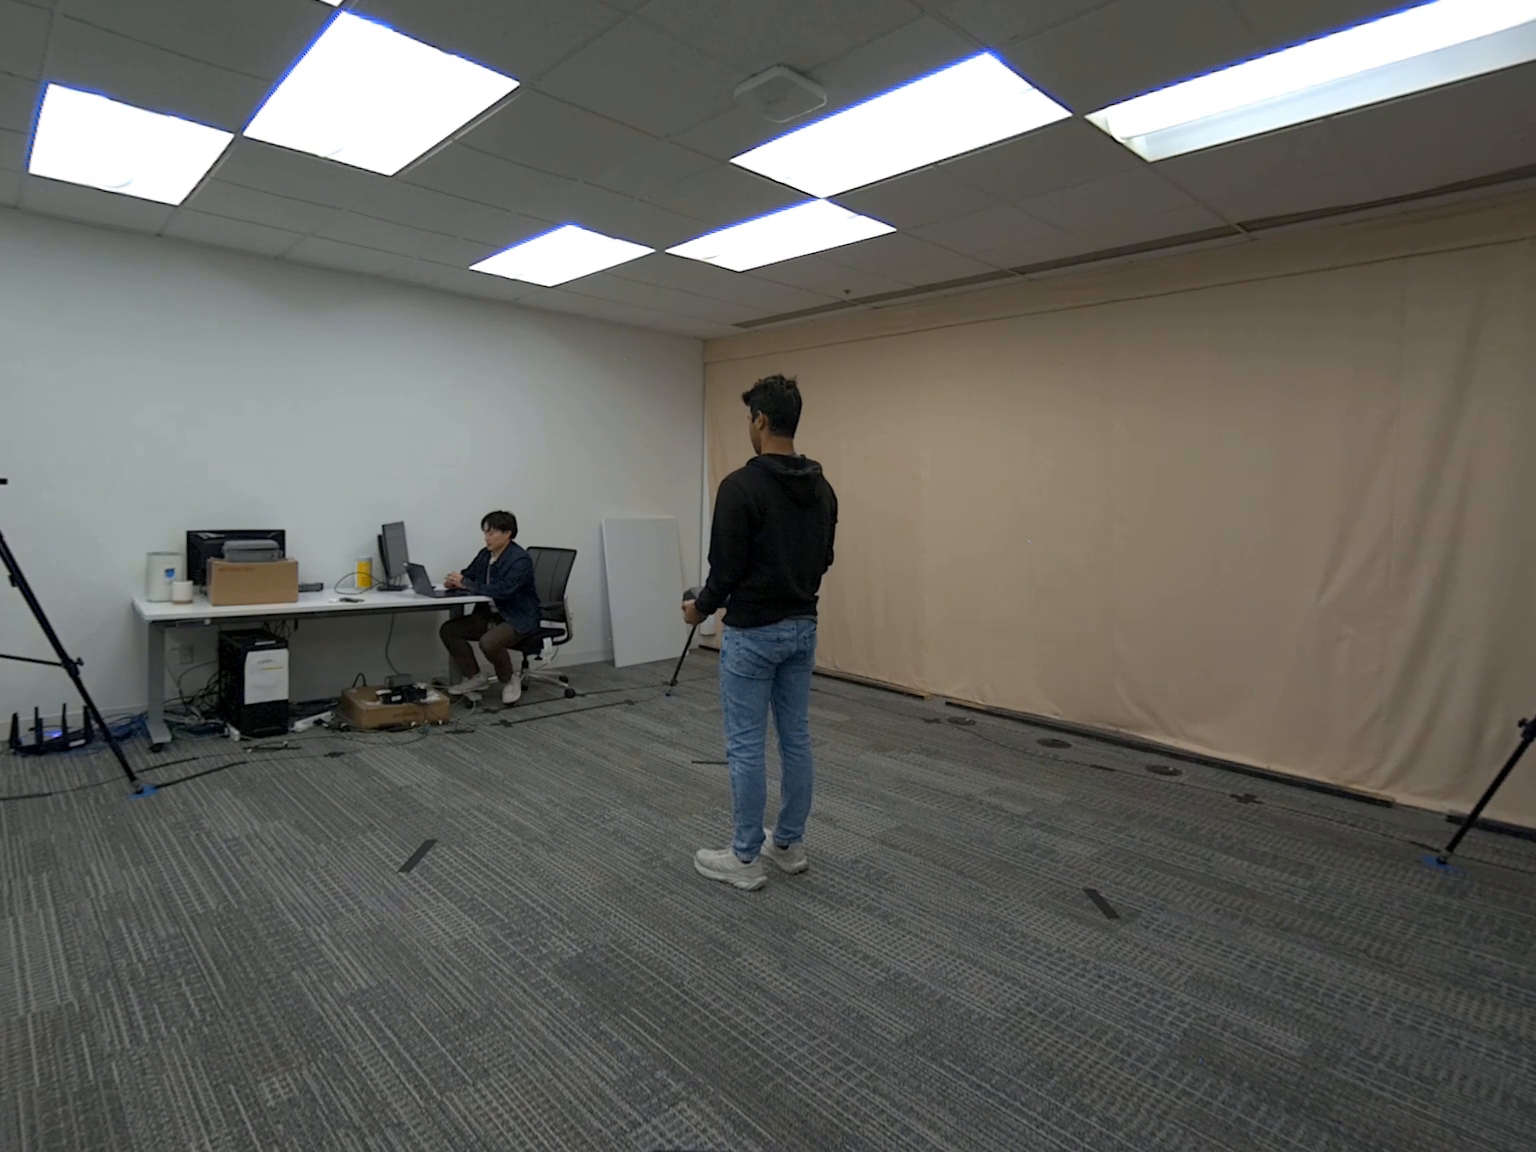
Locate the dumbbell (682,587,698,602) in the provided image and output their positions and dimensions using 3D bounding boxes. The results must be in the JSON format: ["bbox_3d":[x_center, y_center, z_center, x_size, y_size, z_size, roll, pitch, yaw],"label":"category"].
[{"bbox_3d":[-0.186,0.096,3.283,0.287,0.122,0.112,-3,14,-40],"label":"dumbbell"}]
